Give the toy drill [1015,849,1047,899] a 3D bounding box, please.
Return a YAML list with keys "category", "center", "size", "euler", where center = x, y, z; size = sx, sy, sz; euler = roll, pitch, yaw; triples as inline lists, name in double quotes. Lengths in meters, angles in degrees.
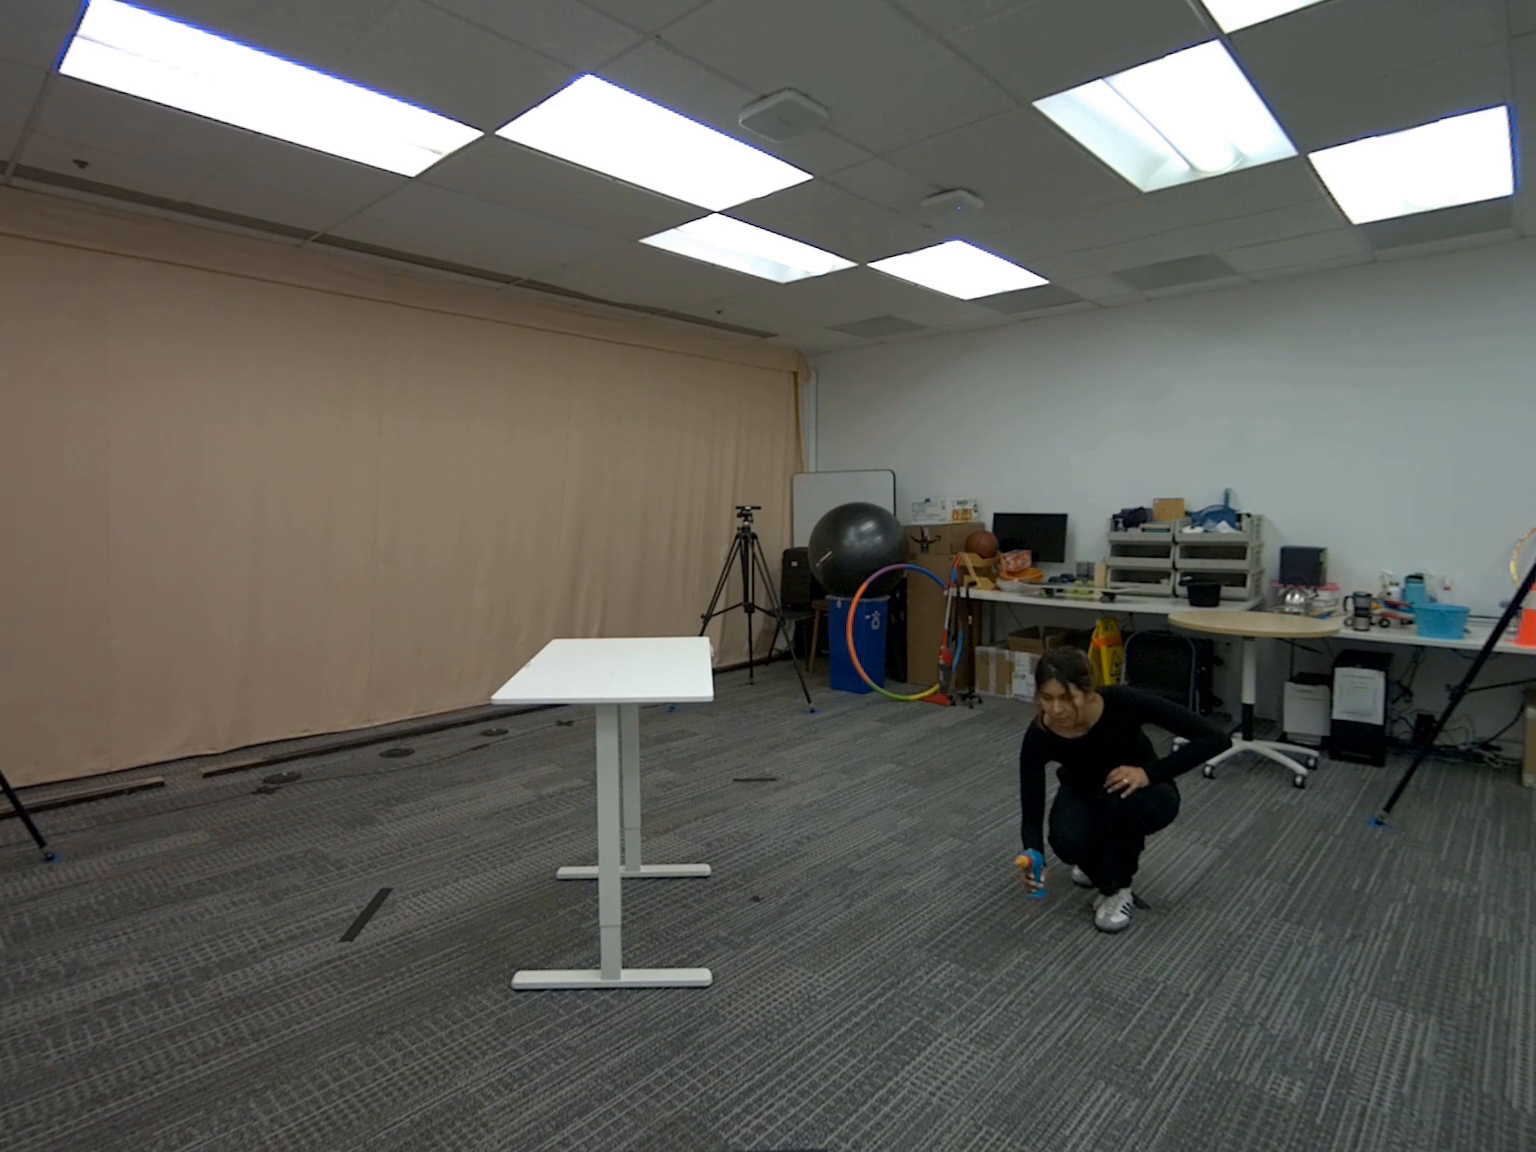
- category: "toy drill"
  center: [0.836, 0.944, 2.621]
  size: [0.164, 0.147, 0.063]
  euler: [6, -11, -36]
